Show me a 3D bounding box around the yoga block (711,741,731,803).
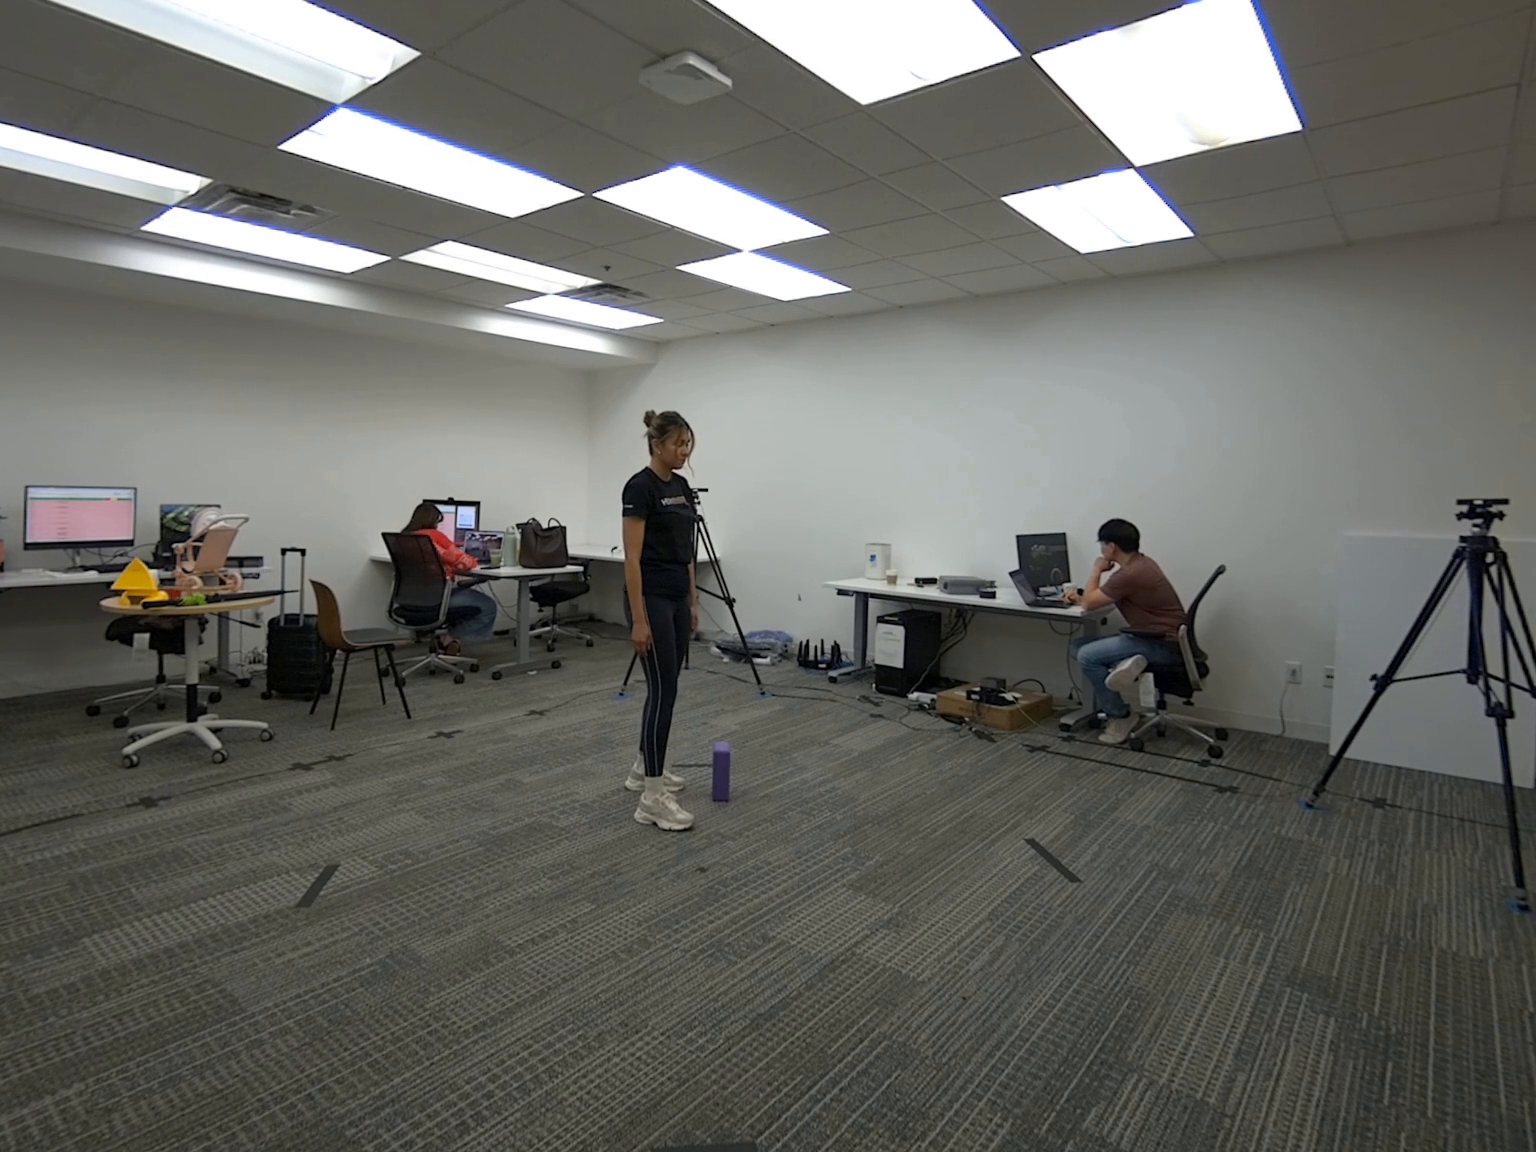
[{"bbox_3d":[-0.220,0.881,3.859,0.076,0.229,0.149,0,3,-2],"label":"yoga block"}]
